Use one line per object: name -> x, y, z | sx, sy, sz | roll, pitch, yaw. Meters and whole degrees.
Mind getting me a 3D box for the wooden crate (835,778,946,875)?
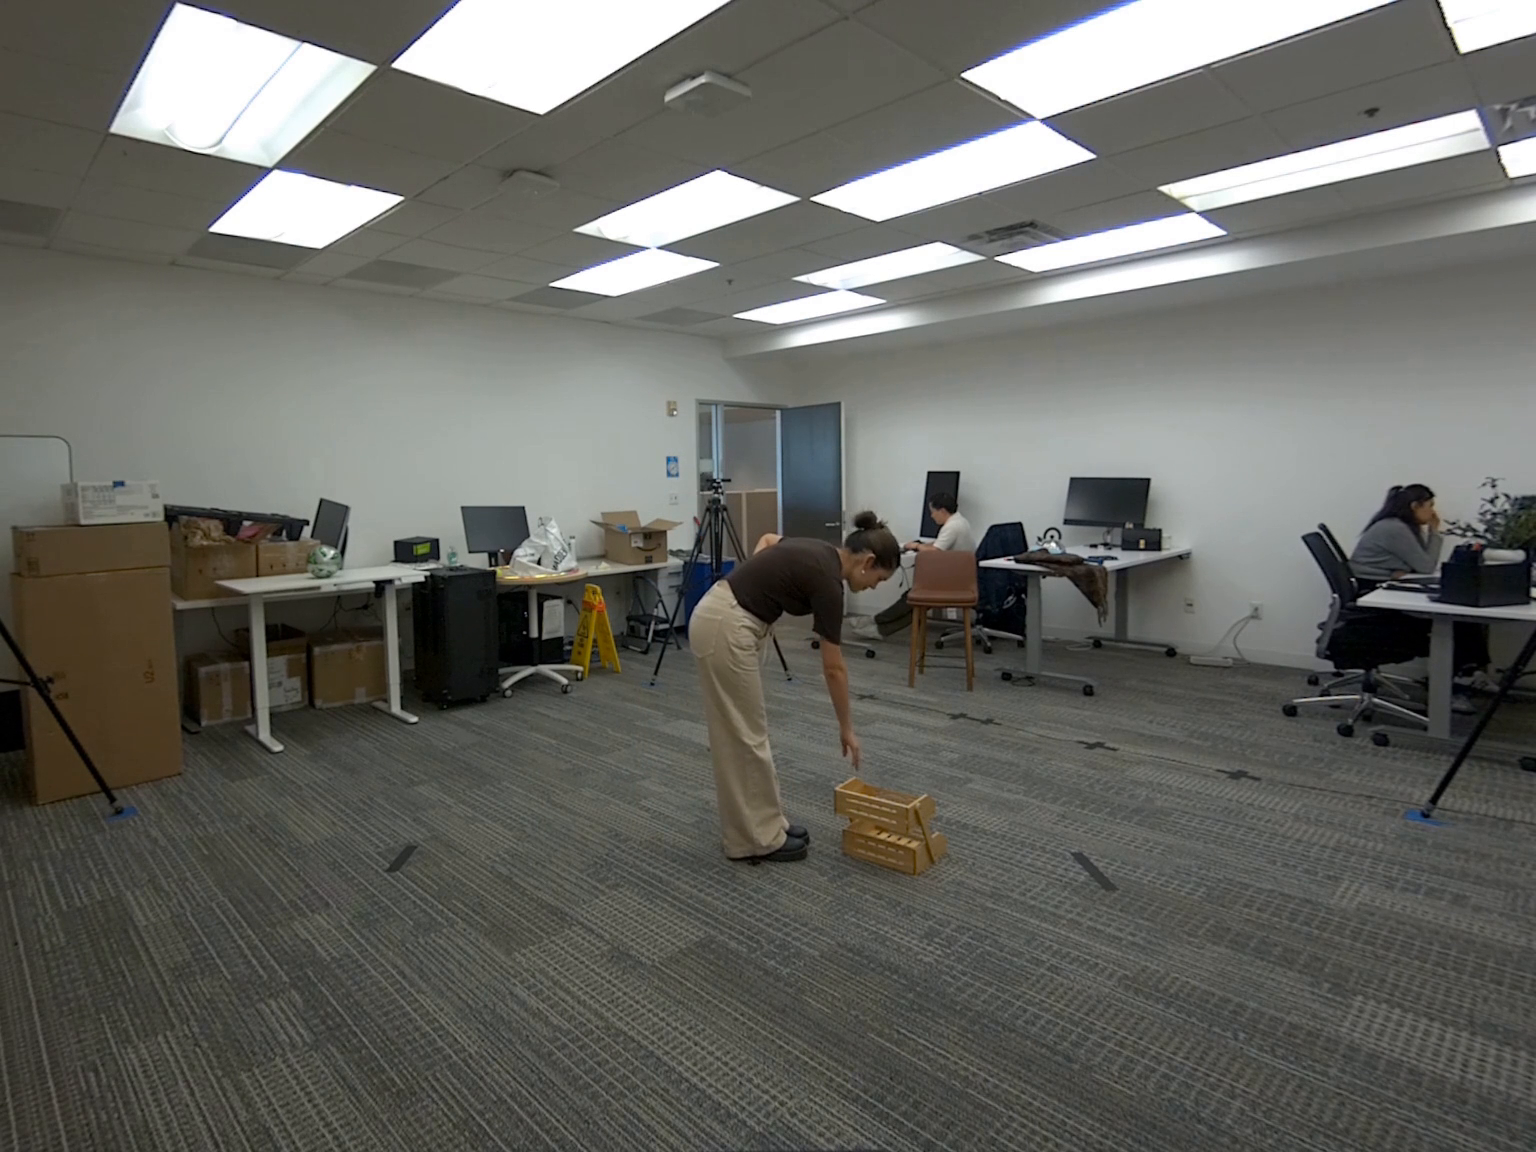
wooden crate -> 0.451, 0.890, 3.148 | 0.334, 0.272, 0.294 | 3, 7, 38
